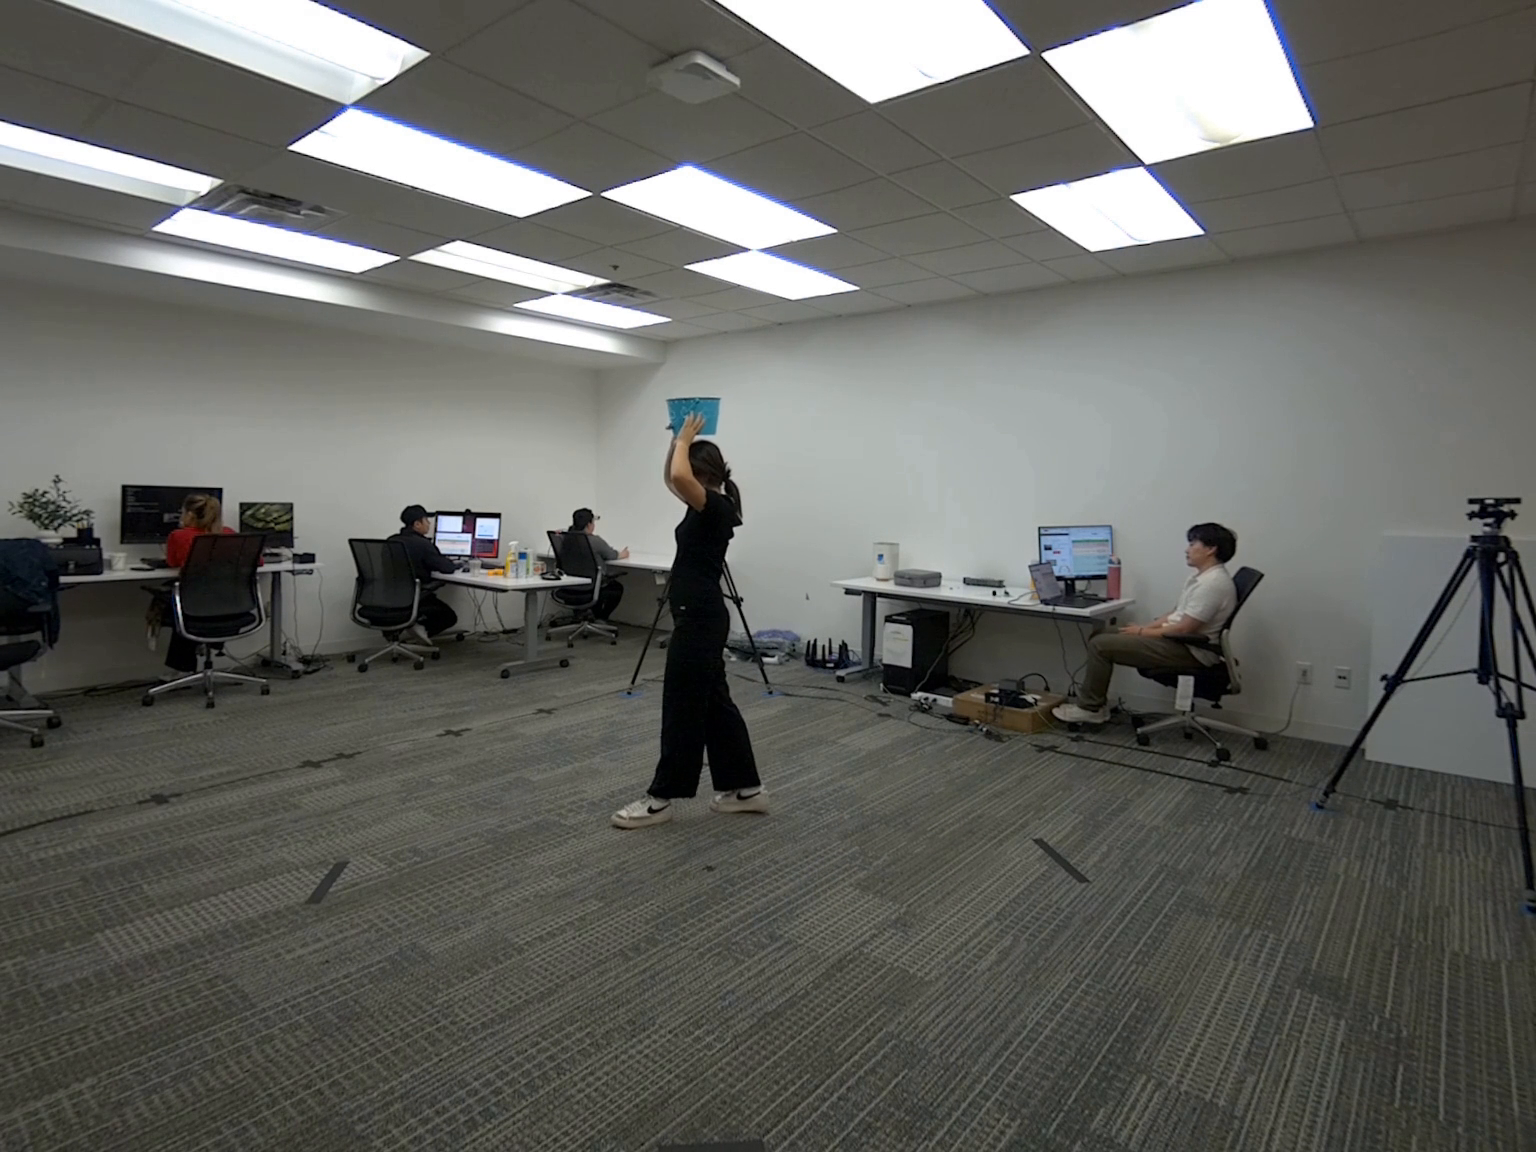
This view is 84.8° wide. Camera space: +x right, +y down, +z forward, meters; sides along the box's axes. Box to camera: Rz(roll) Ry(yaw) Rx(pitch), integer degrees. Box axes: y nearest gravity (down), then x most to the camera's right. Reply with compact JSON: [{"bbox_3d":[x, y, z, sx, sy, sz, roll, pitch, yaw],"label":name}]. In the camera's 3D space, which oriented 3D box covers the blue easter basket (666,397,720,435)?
[{"bbox_3d":[-0.326,-0.668,3.553,0.243,0.155,0.245,-1,7,-2],"label":"blue easter basket"}]
